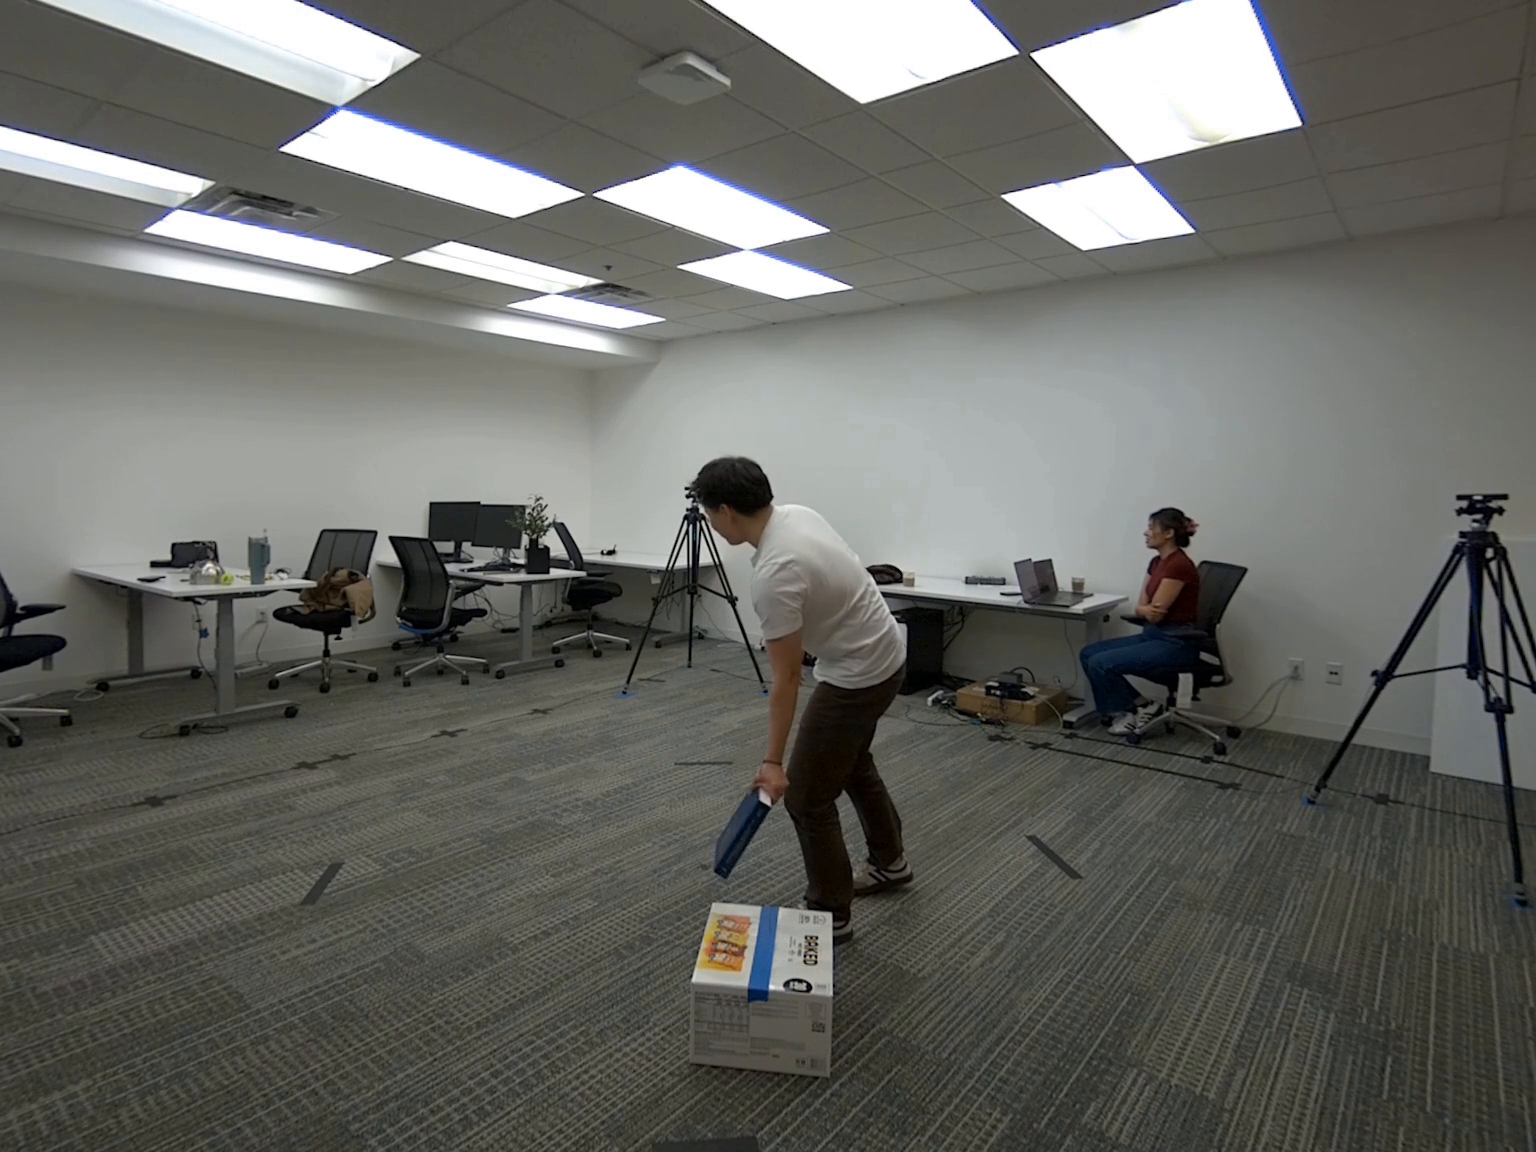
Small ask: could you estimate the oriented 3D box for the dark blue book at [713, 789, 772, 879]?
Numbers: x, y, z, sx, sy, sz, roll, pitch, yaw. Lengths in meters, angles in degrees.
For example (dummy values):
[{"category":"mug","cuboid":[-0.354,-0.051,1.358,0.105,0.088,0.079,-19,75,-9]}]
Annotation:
[{"category":"dark blue book","cuboid":[-0.074,0.699,2.366,0.045,0.244,0.164,30,8,-5]}]
